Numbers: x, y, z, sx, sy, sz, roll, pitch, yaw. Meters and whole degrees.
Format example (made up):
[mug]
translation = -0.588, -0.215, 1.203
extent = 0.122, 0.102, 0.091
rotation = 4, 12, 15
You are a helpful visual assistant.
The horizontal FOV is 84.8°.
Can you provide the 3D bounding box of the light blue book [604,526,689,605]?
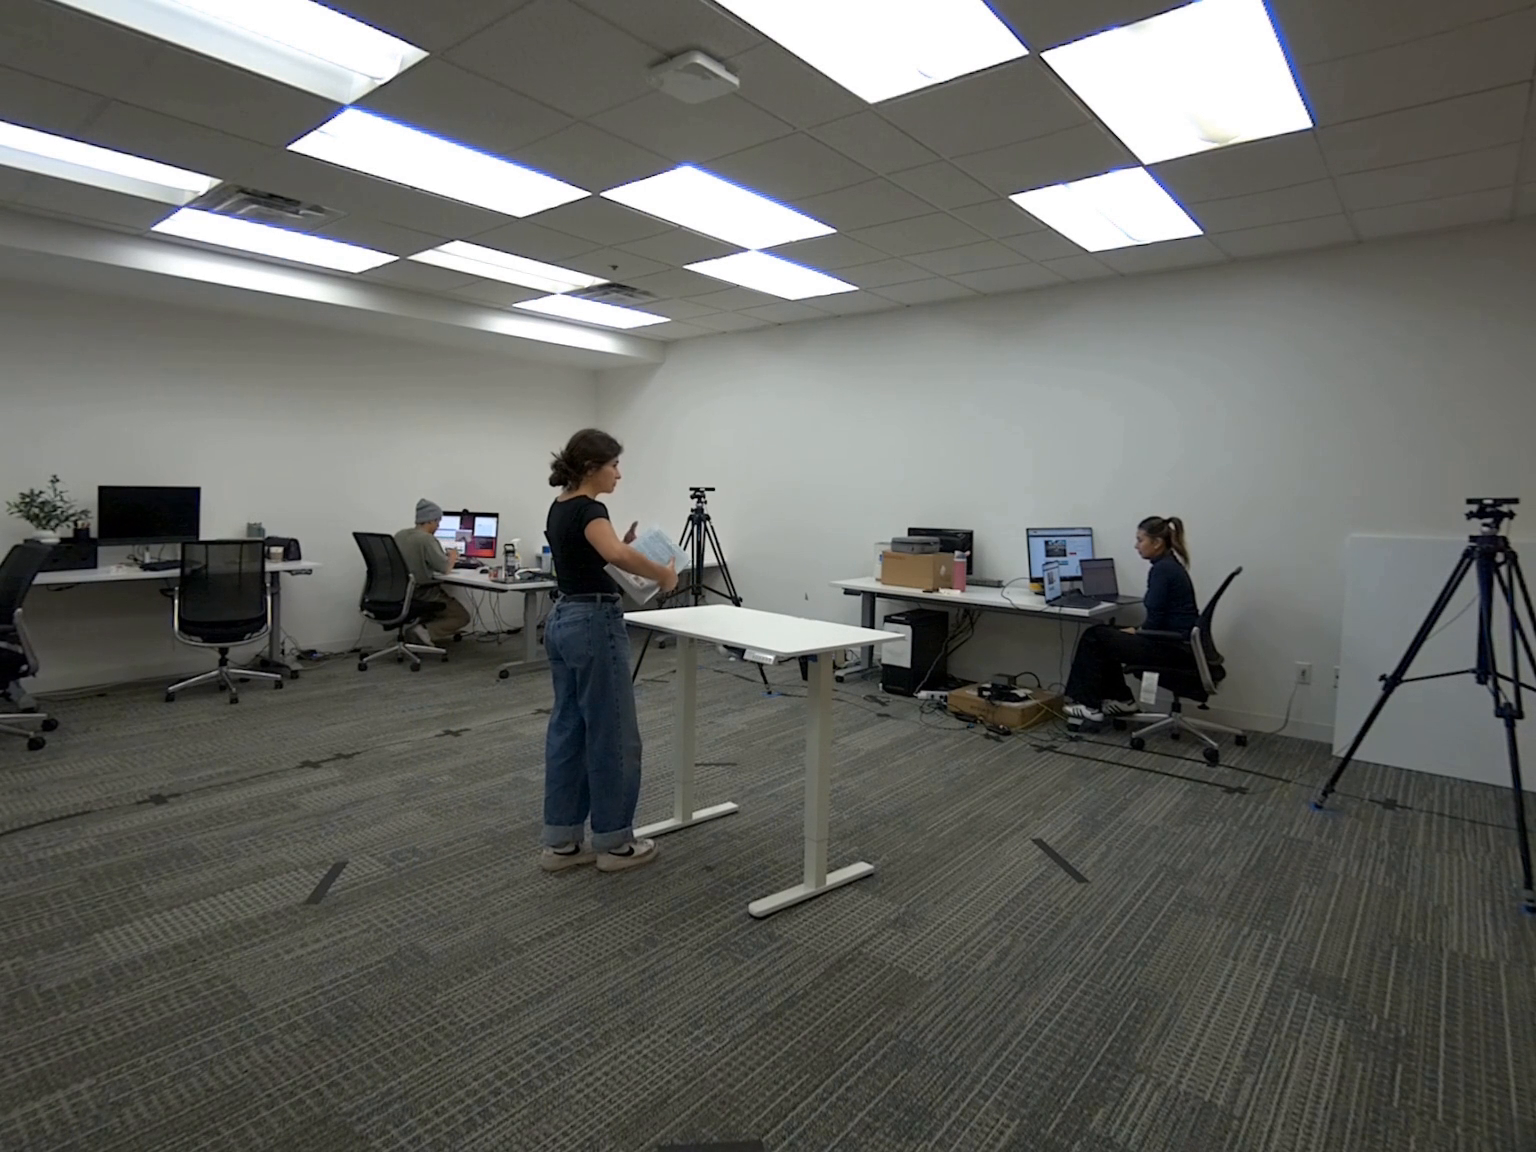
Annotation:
[light blue book]
translation = -0.434, -0.048, 3.014
extent = 0.260, 0.193, 0.059
rotation = -42, -6, -37
